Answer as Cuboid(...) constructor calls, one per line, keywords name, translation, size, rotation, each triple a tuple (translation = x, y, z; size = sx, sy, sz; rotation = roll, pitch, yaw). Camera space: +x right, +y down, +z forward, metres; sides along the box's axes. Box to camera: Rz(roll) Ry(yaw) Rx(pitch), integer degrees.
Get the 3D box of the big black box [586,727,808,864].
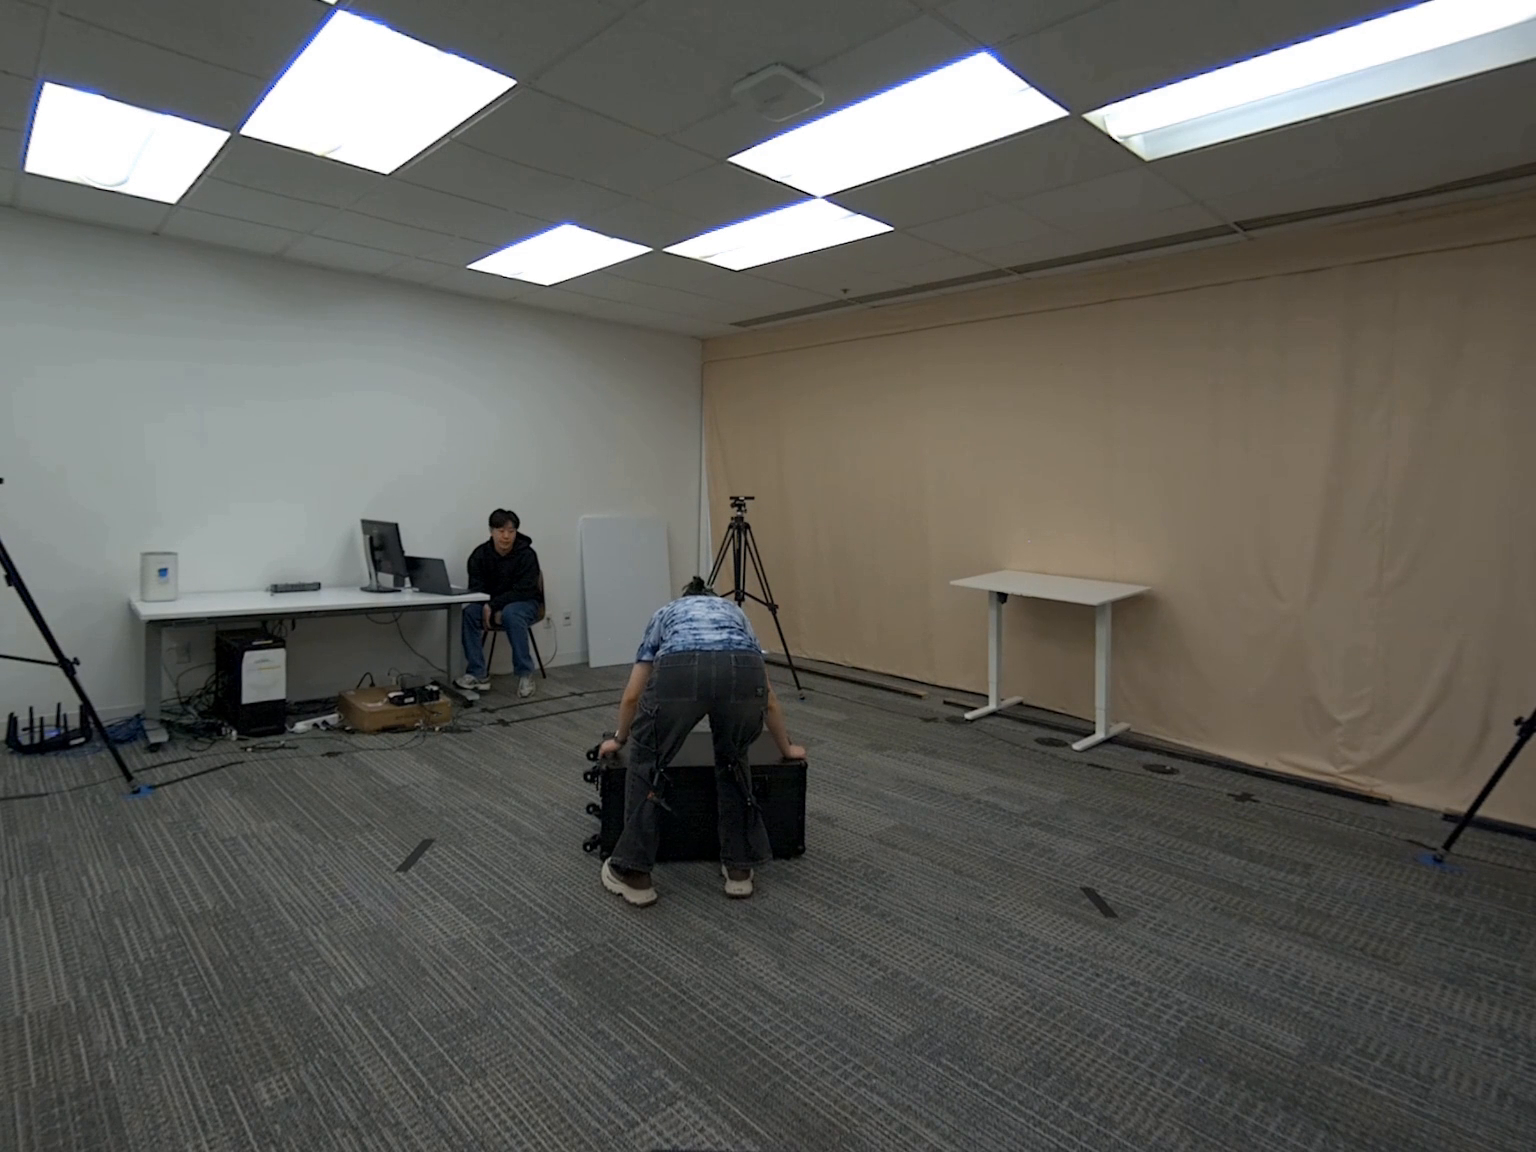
Cuboid(name="big black box", translation=(-0.260, 0.881, 3.428), size=(0.855, 0.395, 0.526), rotation=(0, 4, -9))
